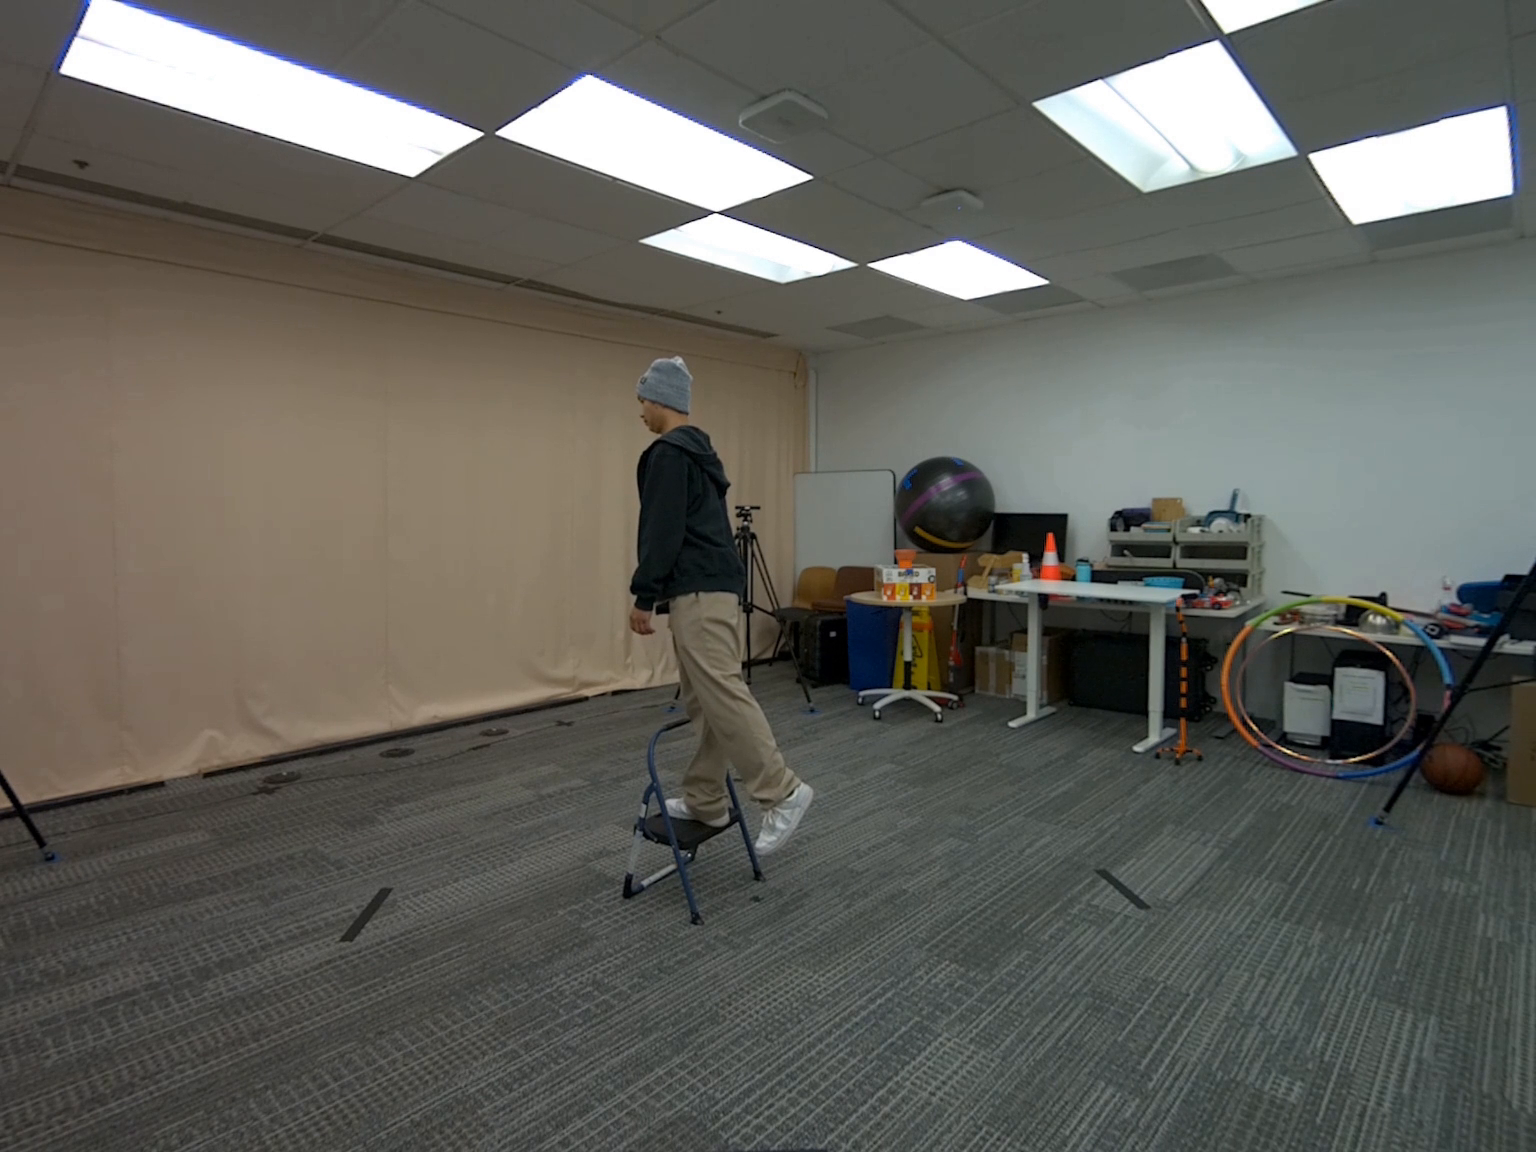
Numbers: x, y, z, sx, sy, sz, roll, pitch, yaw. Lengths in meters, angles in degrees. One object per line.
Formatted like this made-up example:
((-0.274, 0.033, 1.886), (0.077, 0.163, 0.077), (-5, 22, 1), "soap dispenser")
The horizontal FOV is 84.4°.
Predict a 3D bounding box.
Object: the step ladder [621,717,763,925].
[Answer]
((-0.269, 0.838, 3.053), (0.360, 0.605, 0.419), (1, 4, 32), "step ladder")
